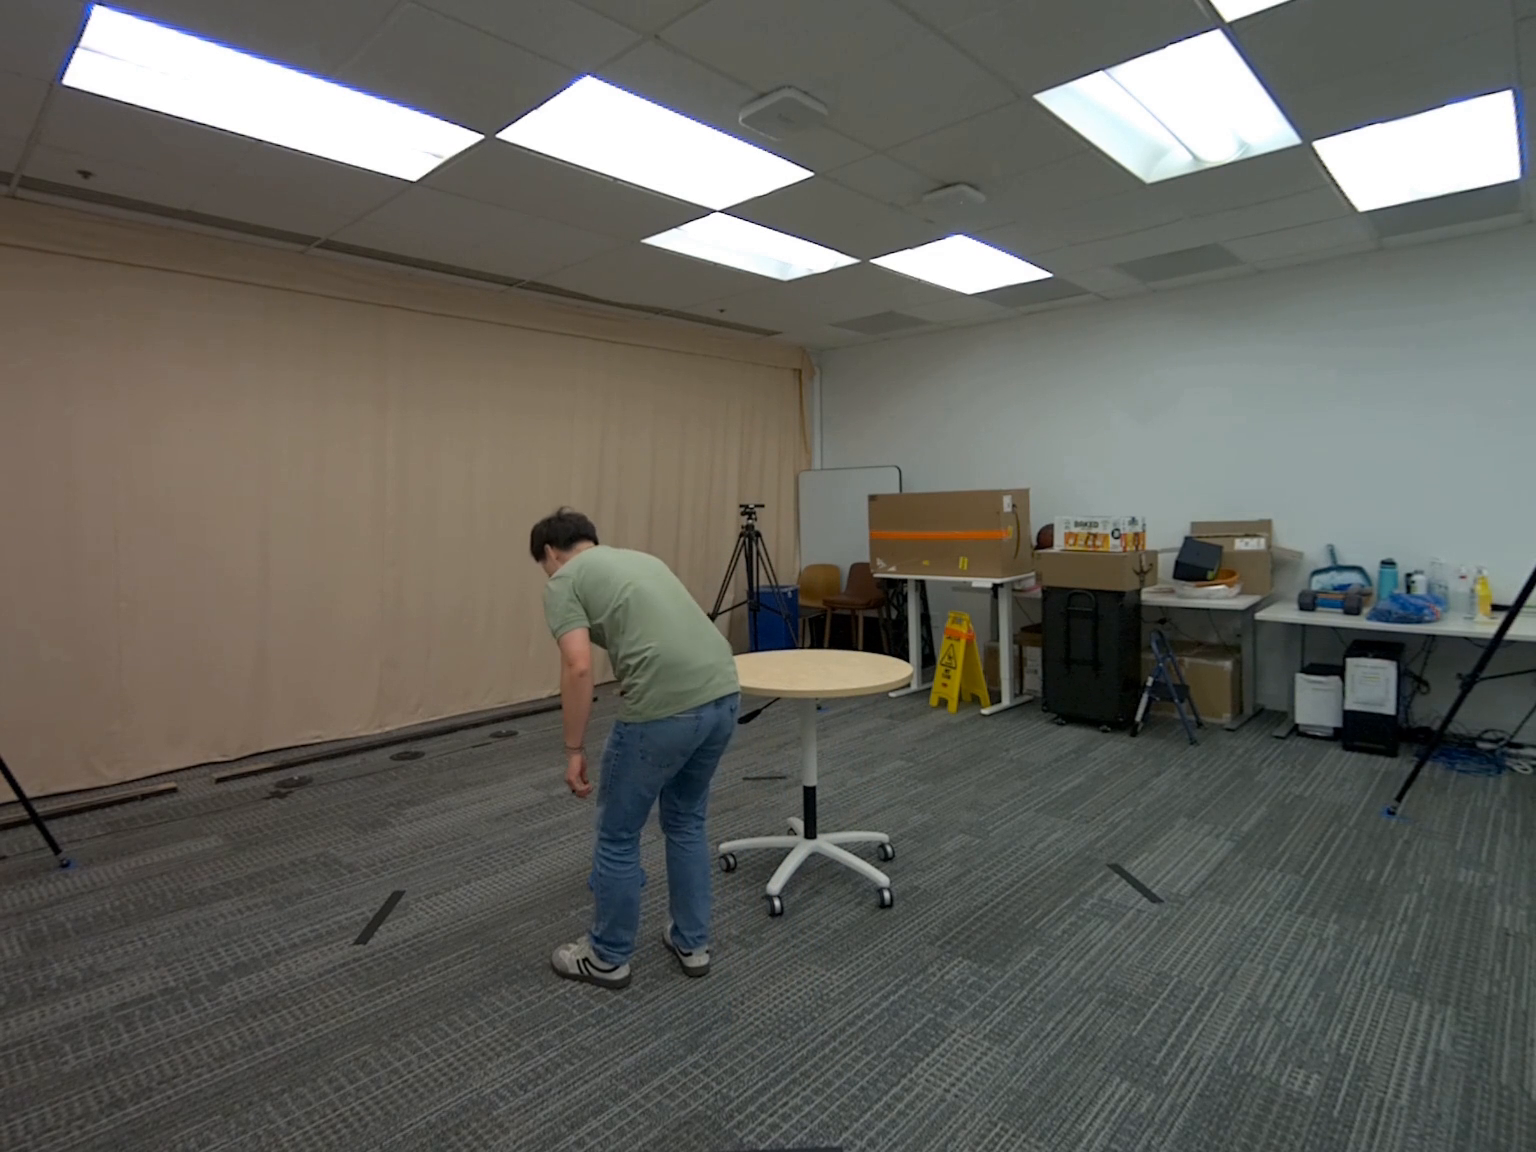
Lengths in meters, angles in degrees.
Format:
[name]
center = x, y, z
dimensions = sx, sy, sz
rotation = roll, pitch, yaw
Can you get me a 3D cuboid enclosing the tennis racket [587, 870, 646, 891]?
[tennis racket]
center = -0.555, 1.135, 3.063
dimensions = 0.213, 0.032, 0.436
rotation = -2, 4, -6
